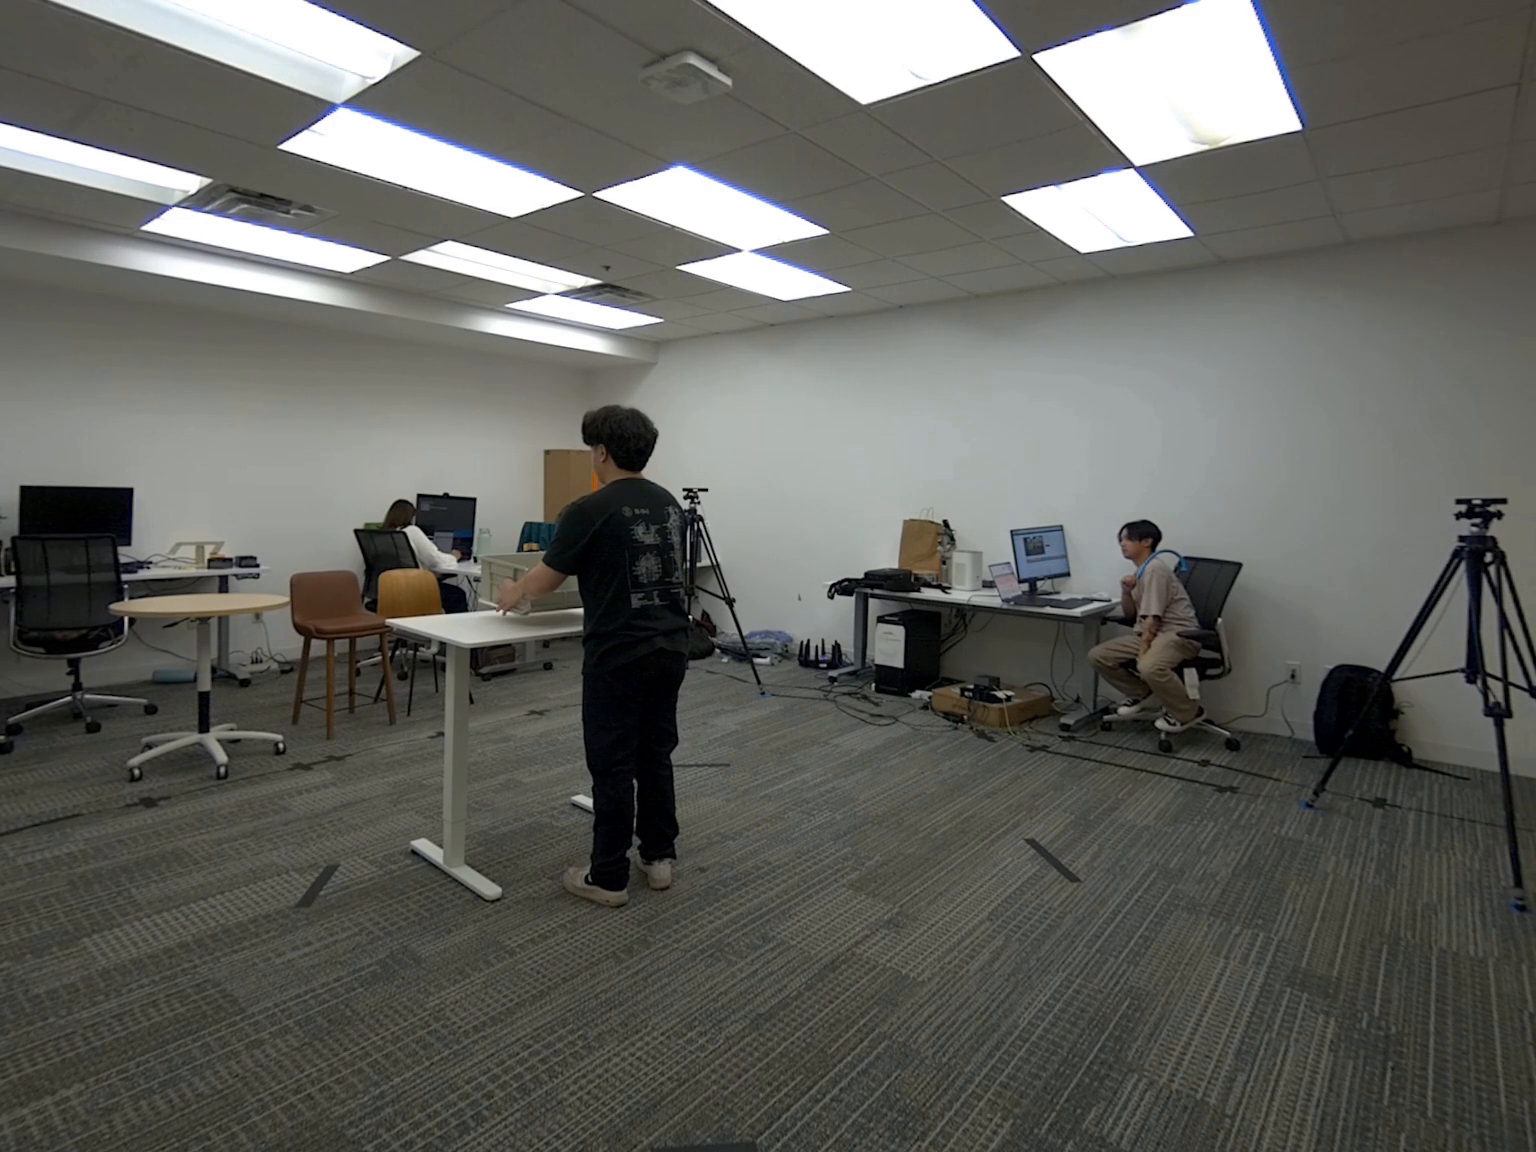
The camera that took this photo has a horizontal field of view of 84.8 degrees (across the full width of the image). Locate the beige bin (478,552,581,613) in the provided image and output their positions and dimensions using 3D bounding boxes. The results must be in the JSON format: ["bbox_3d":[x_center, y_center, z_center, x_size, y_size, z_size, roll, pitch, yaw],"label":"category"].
[{"bbox_3d":[-0.853,0.026,3.277,0.410,0.188,0.391,-4,10,-44],"label":"beige bin"}]
